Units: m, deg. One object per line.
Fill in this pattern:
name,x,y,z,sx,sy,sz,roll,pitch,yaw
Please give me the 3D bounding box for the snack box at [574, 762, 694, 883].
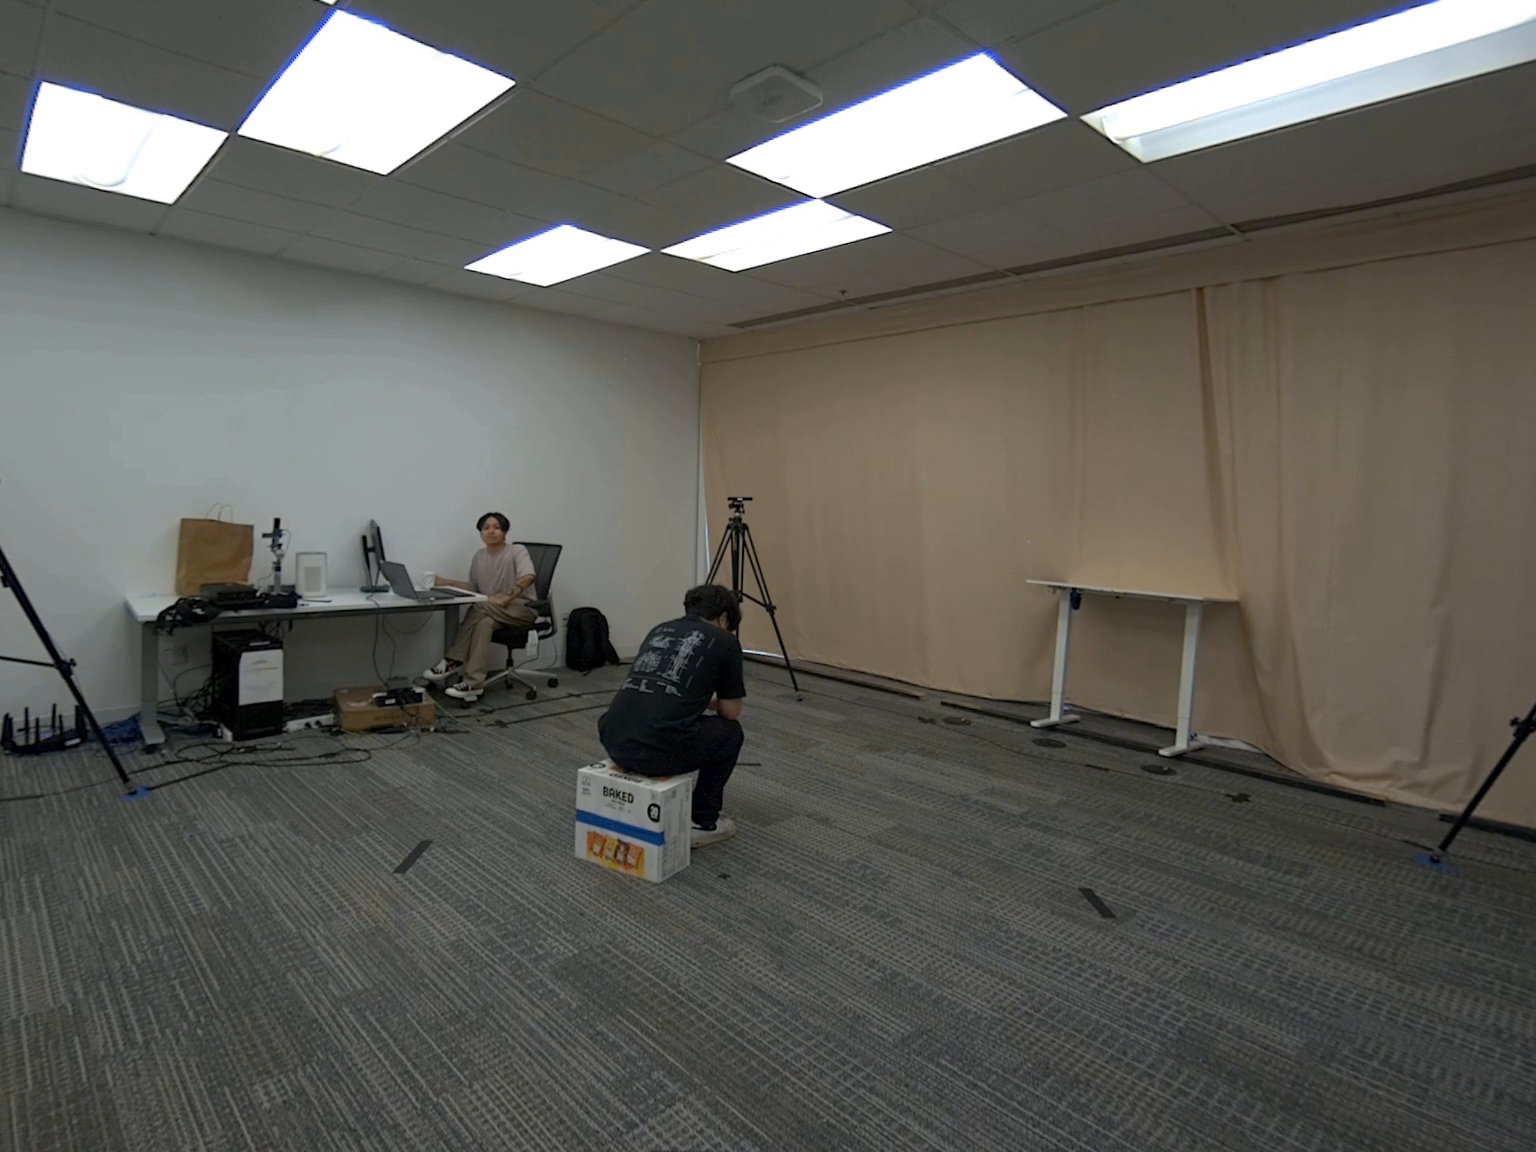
snack box,-0.523,0.924,3.209,0.414,0.339,0.202,5,5,31
